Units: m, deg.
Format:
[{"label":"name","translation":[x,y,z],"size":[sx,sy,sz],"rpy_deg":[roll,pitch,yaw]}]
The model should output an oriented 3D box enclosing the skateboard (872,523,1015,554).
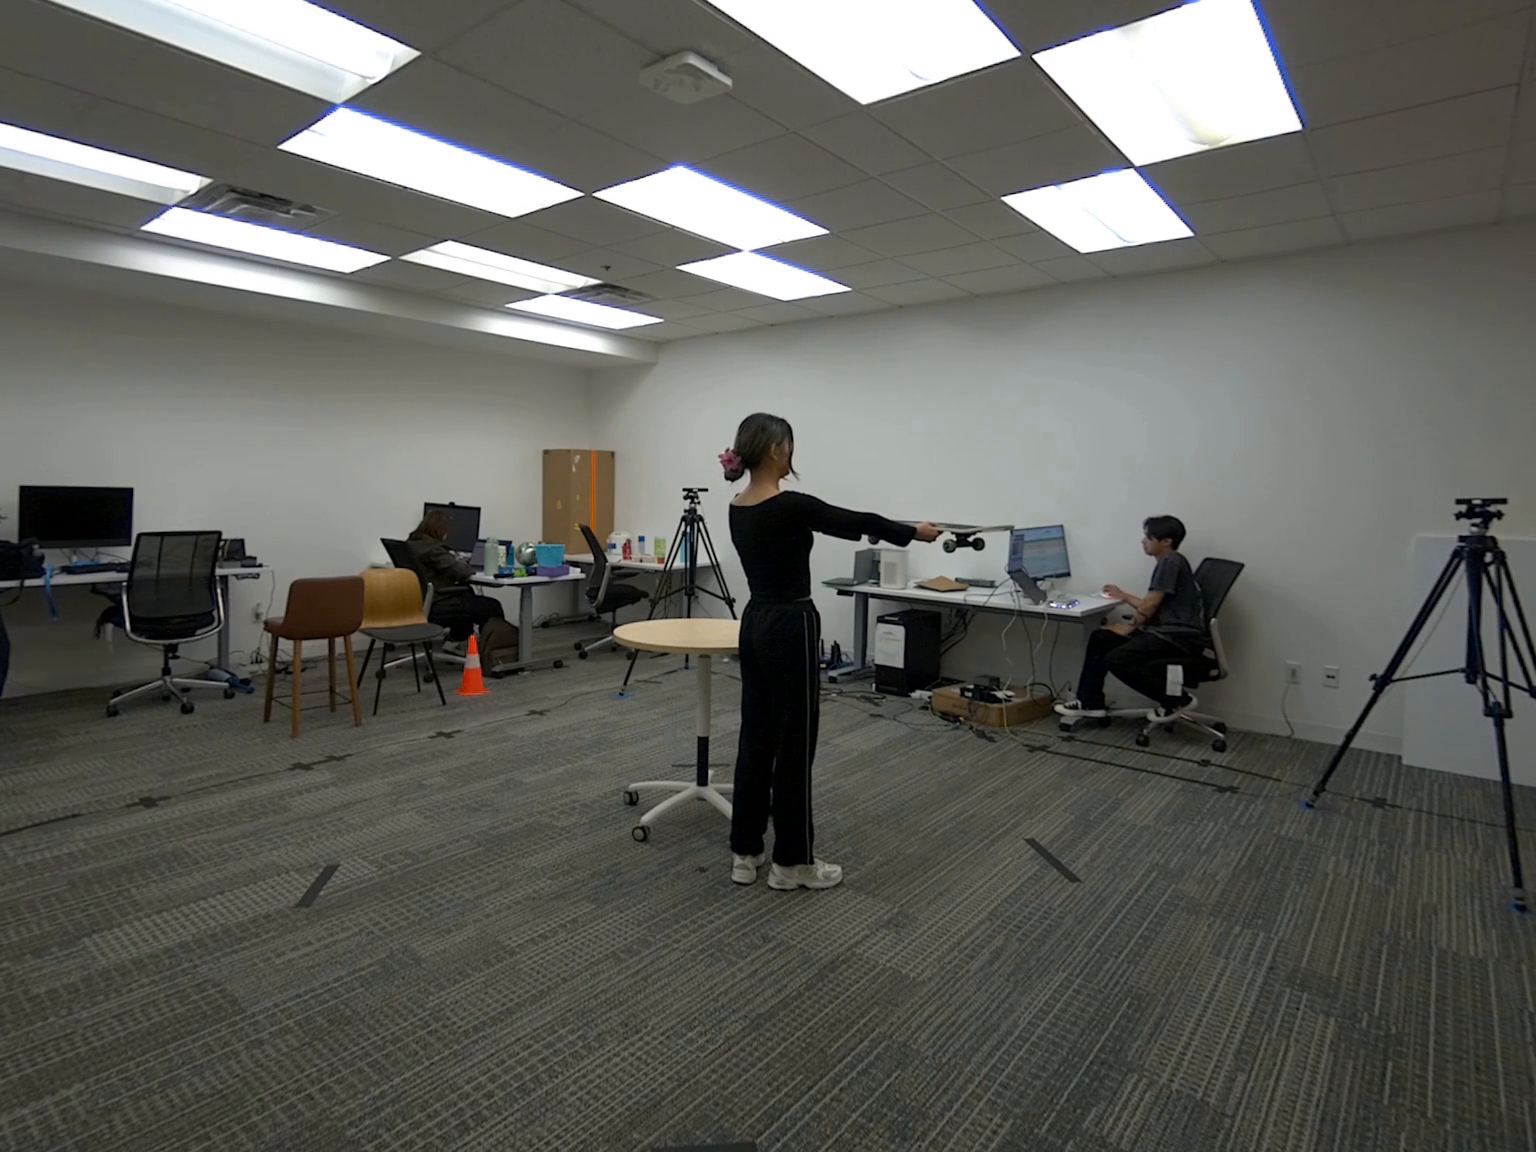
[{"label":"skateboard","translation":[0.600,-0.167,3.283],"size":[0.188,0.109,0.812],"rpy_deg":[-6,10,-35]}]
